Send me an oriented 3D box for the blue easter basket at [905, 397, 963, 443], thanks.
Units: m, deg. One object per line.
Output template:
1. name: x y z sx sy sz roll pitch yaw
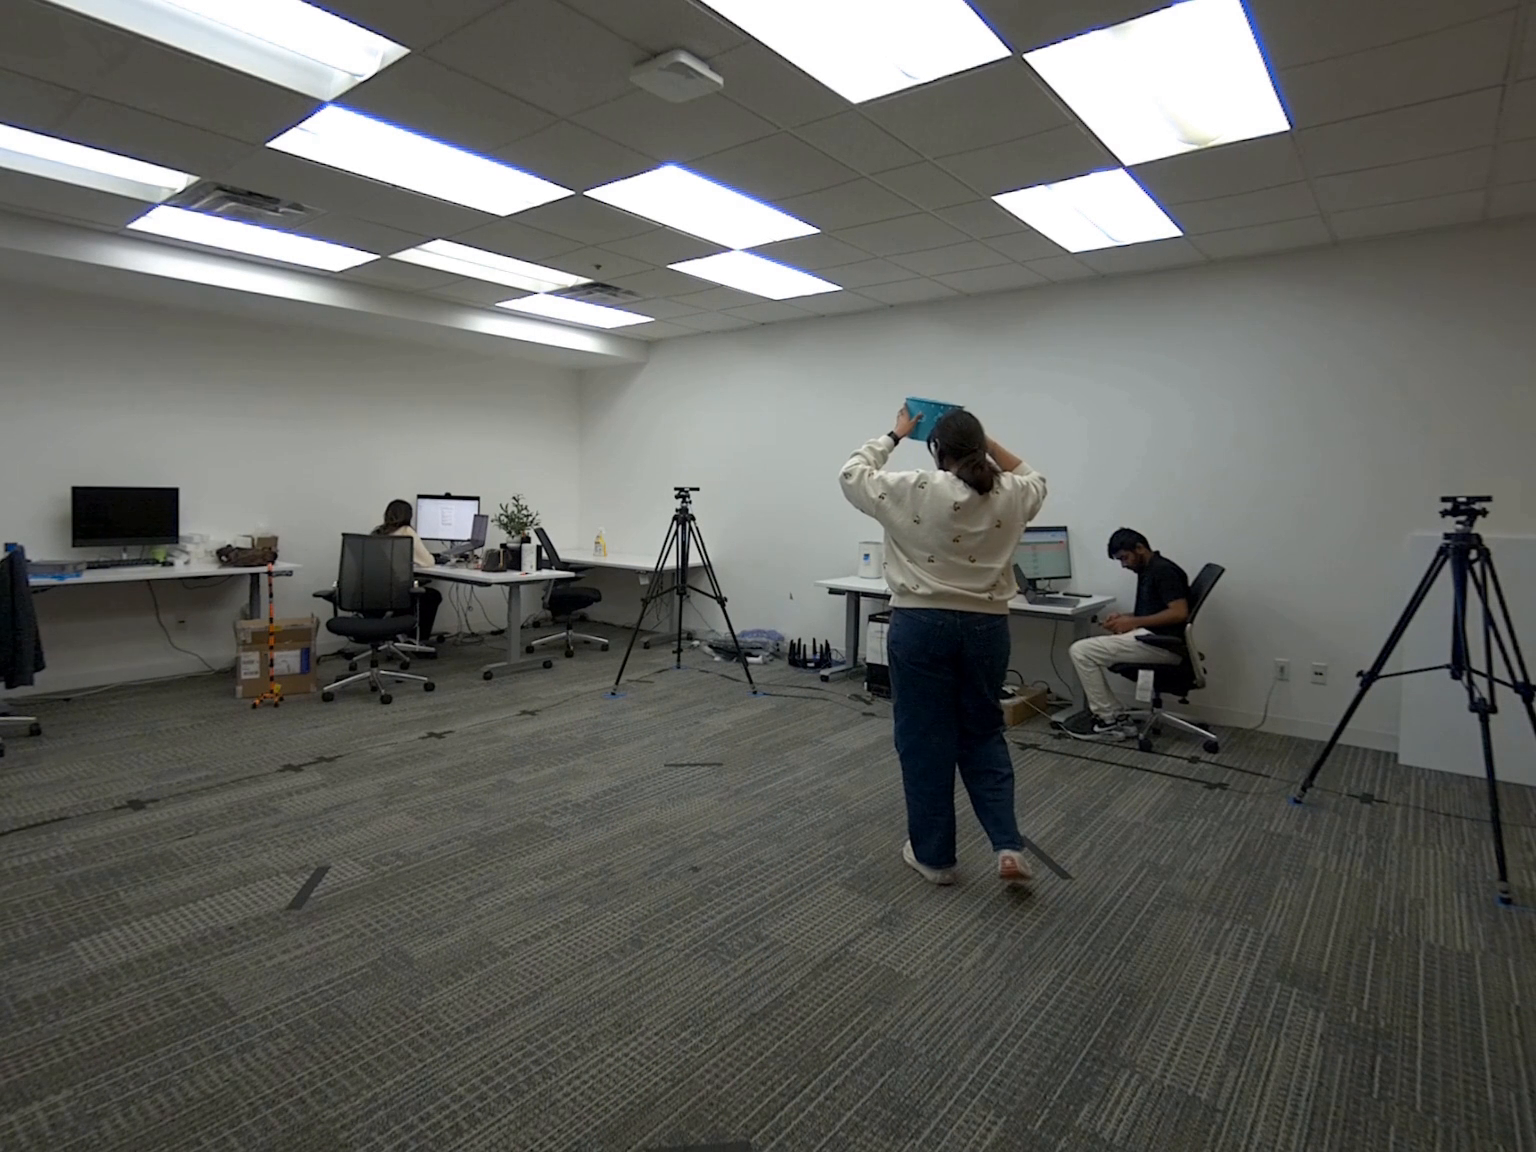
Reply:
1. blue easter basket: 0.630 -0.600 3.259 0.243 0.154 0.247 7 15 -4
